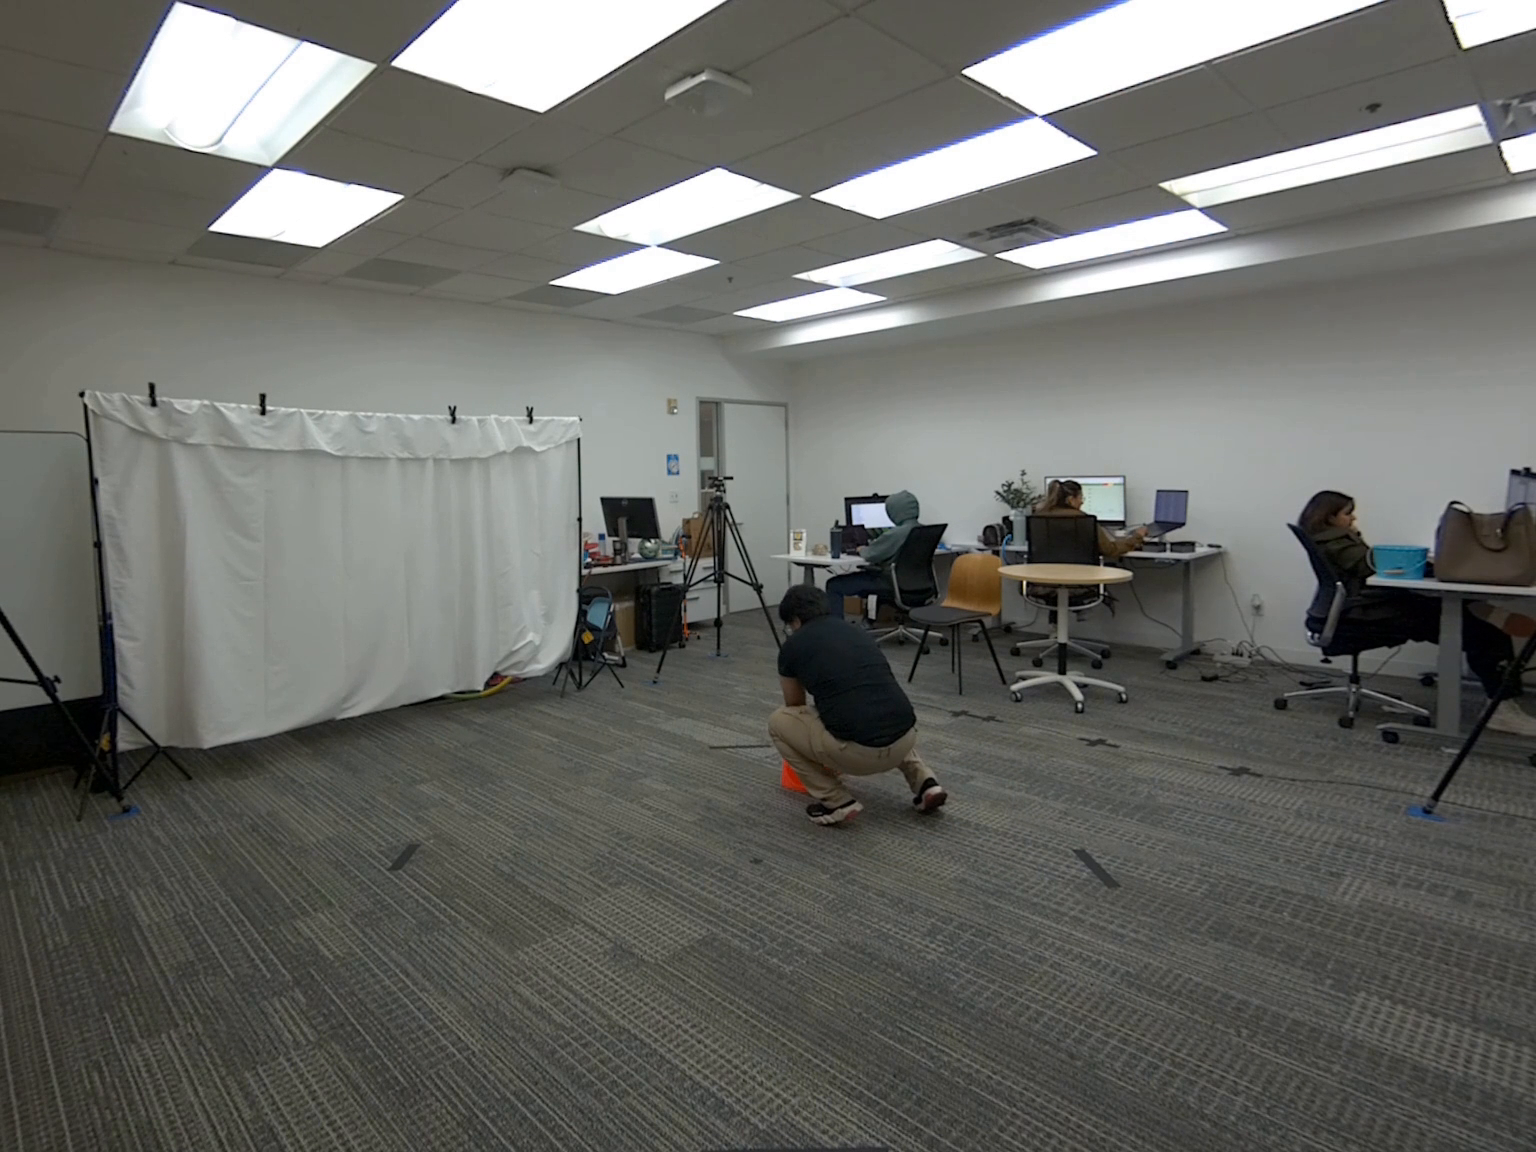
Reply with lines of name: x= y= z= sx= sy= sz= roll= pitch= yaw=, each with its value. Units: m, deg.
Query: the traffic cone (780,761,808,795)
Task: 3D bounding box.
traffic cone: x=0.282 y=0.882 z=3.948 sx=0.211 sy=0.203 sz=0.371 roll=8 pitch=-1 yaw=43
